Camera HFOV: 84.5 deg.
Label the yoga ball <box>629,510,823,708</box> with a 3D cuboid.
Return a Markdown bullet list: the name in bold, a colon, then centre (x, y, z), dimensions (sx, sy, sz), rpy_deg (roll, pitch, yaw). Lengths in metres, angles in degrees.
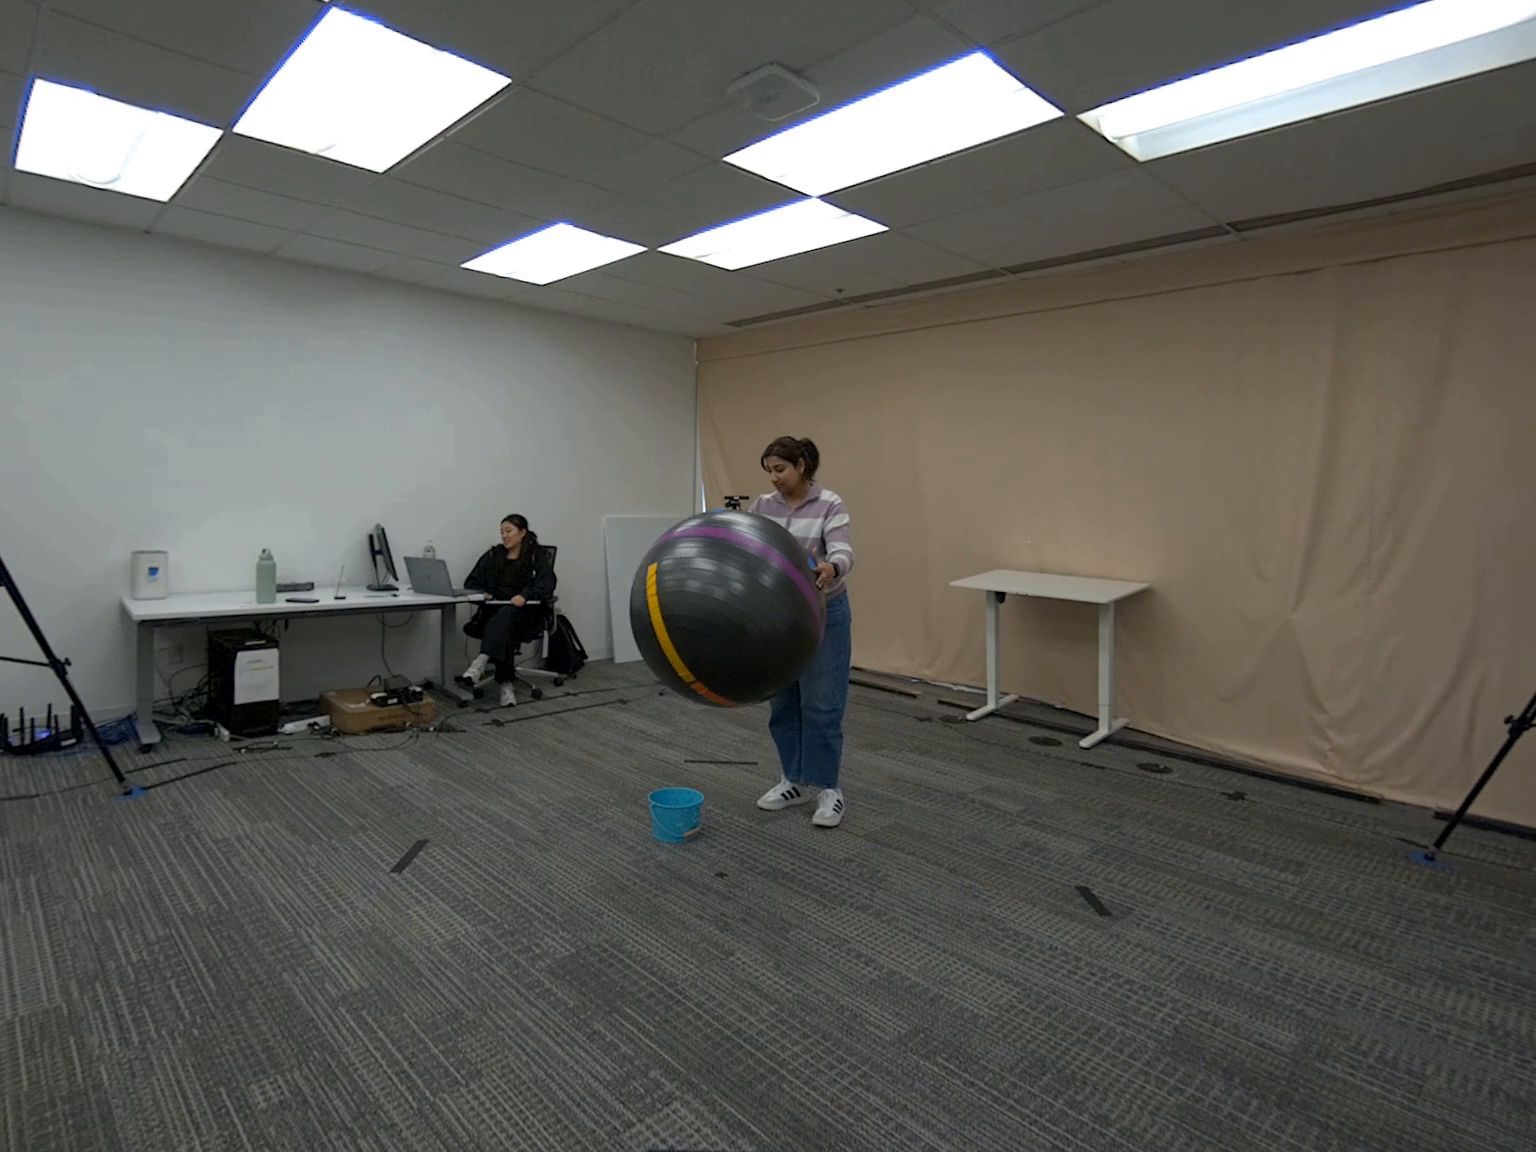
- **yoga ball**: centre (-0.161, 0.135, 3.250), dimensions (0.757, 0.756, 0.761), rpy_deg (1, 4, -1)
